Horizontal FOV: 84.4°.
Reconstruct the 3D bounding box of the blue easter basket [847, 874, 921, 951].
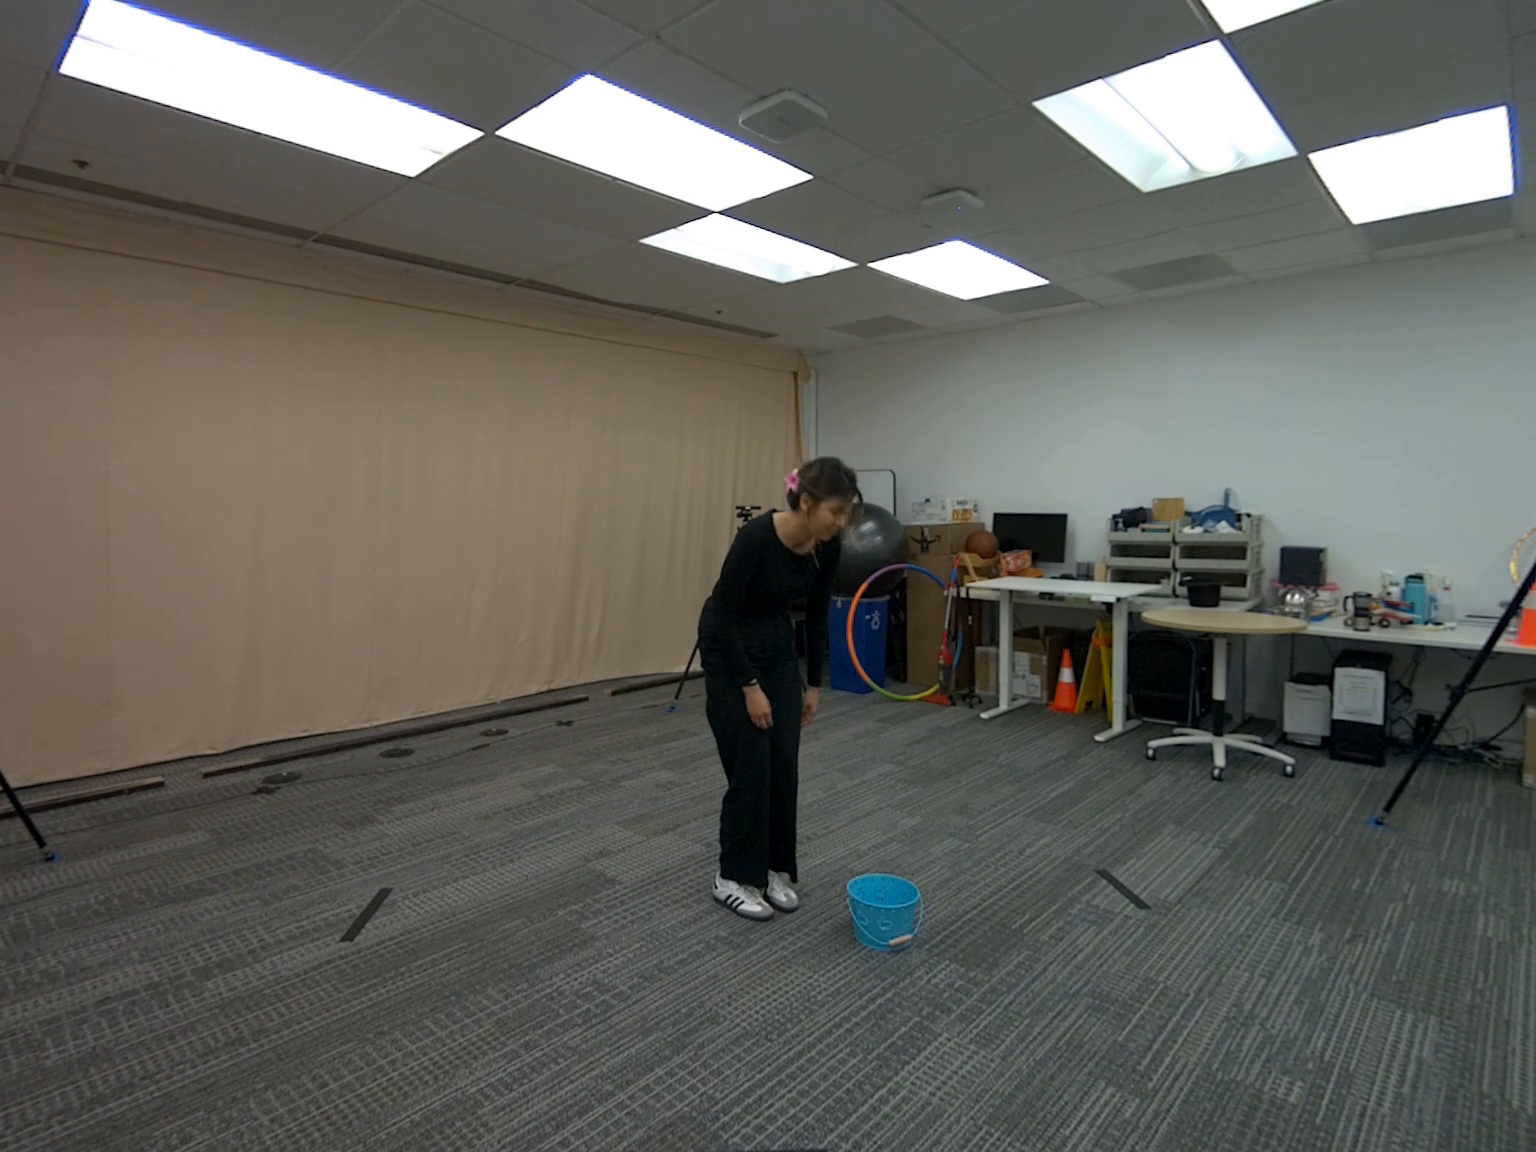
[{"bbox_3d":[0.374,1.089,2.715,0.243,0.155,0.244,0,4,-2],"label":"blue easter basket"}]
